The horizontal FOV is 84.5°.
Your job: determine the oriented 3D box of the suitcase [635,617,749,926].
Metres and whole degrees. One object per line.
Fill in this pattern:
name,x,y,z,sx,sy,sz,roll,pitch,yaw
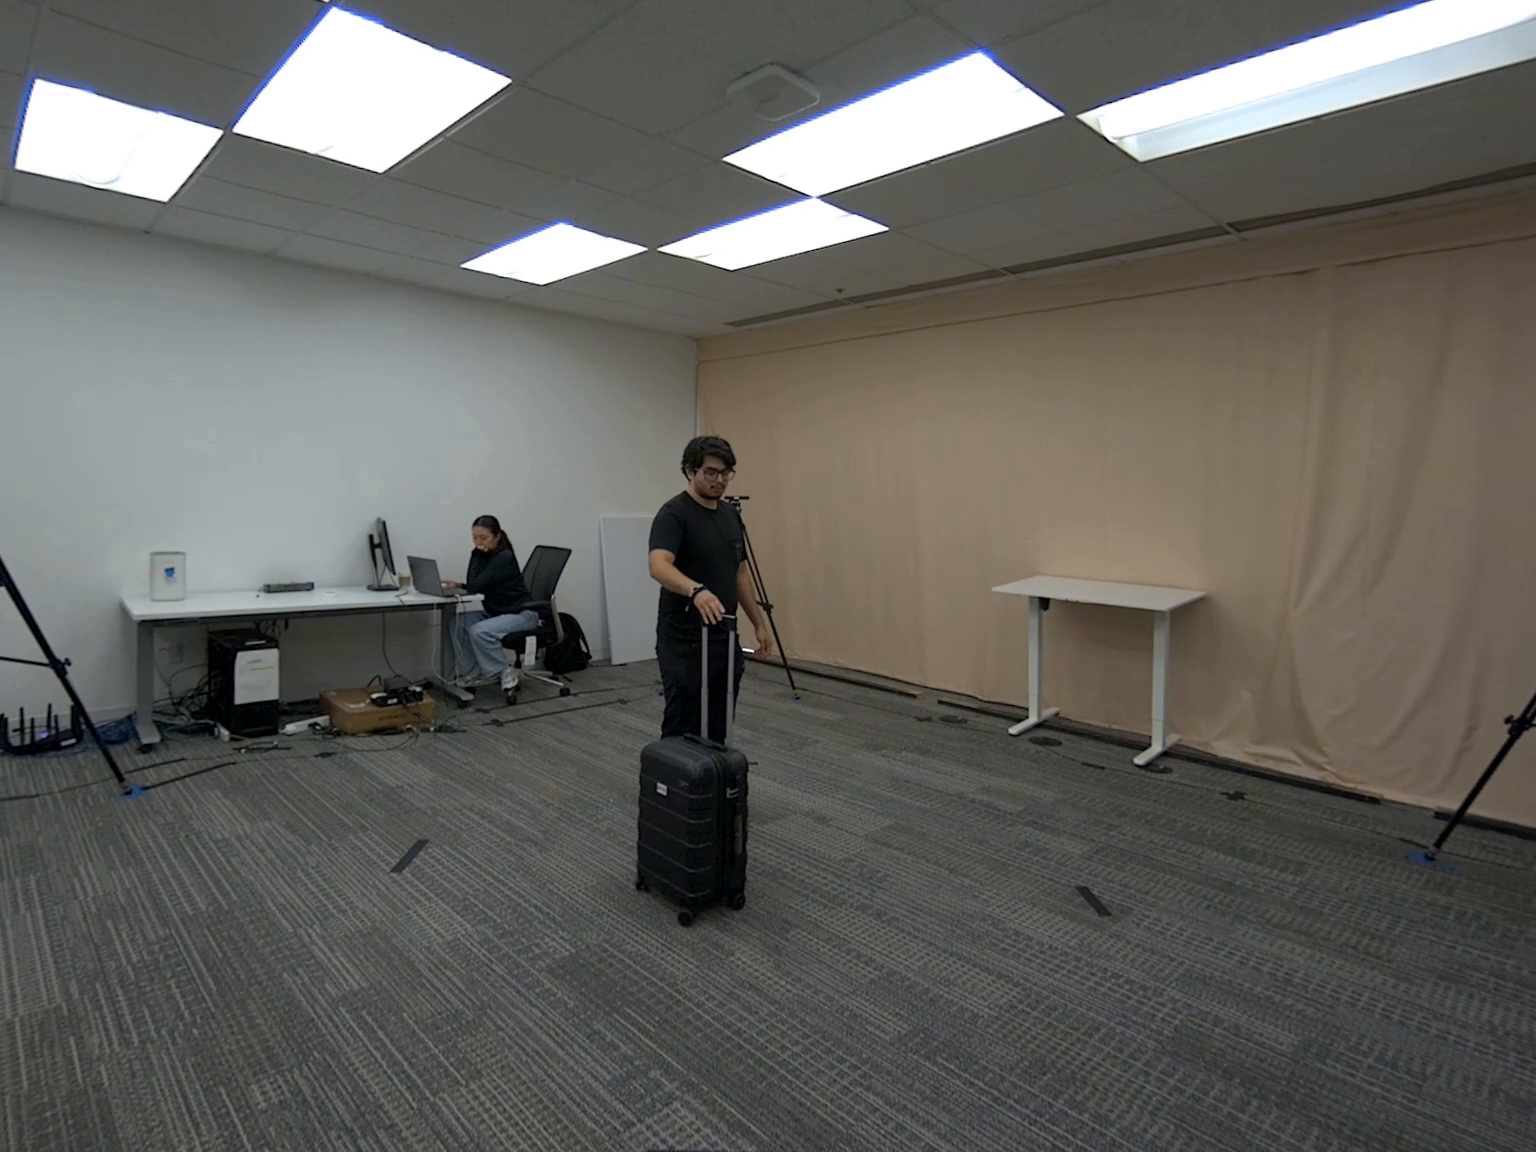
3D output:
suitcase,-0.267,0.650,2.888,0.251,0.976,0.393,-3,4,-40
